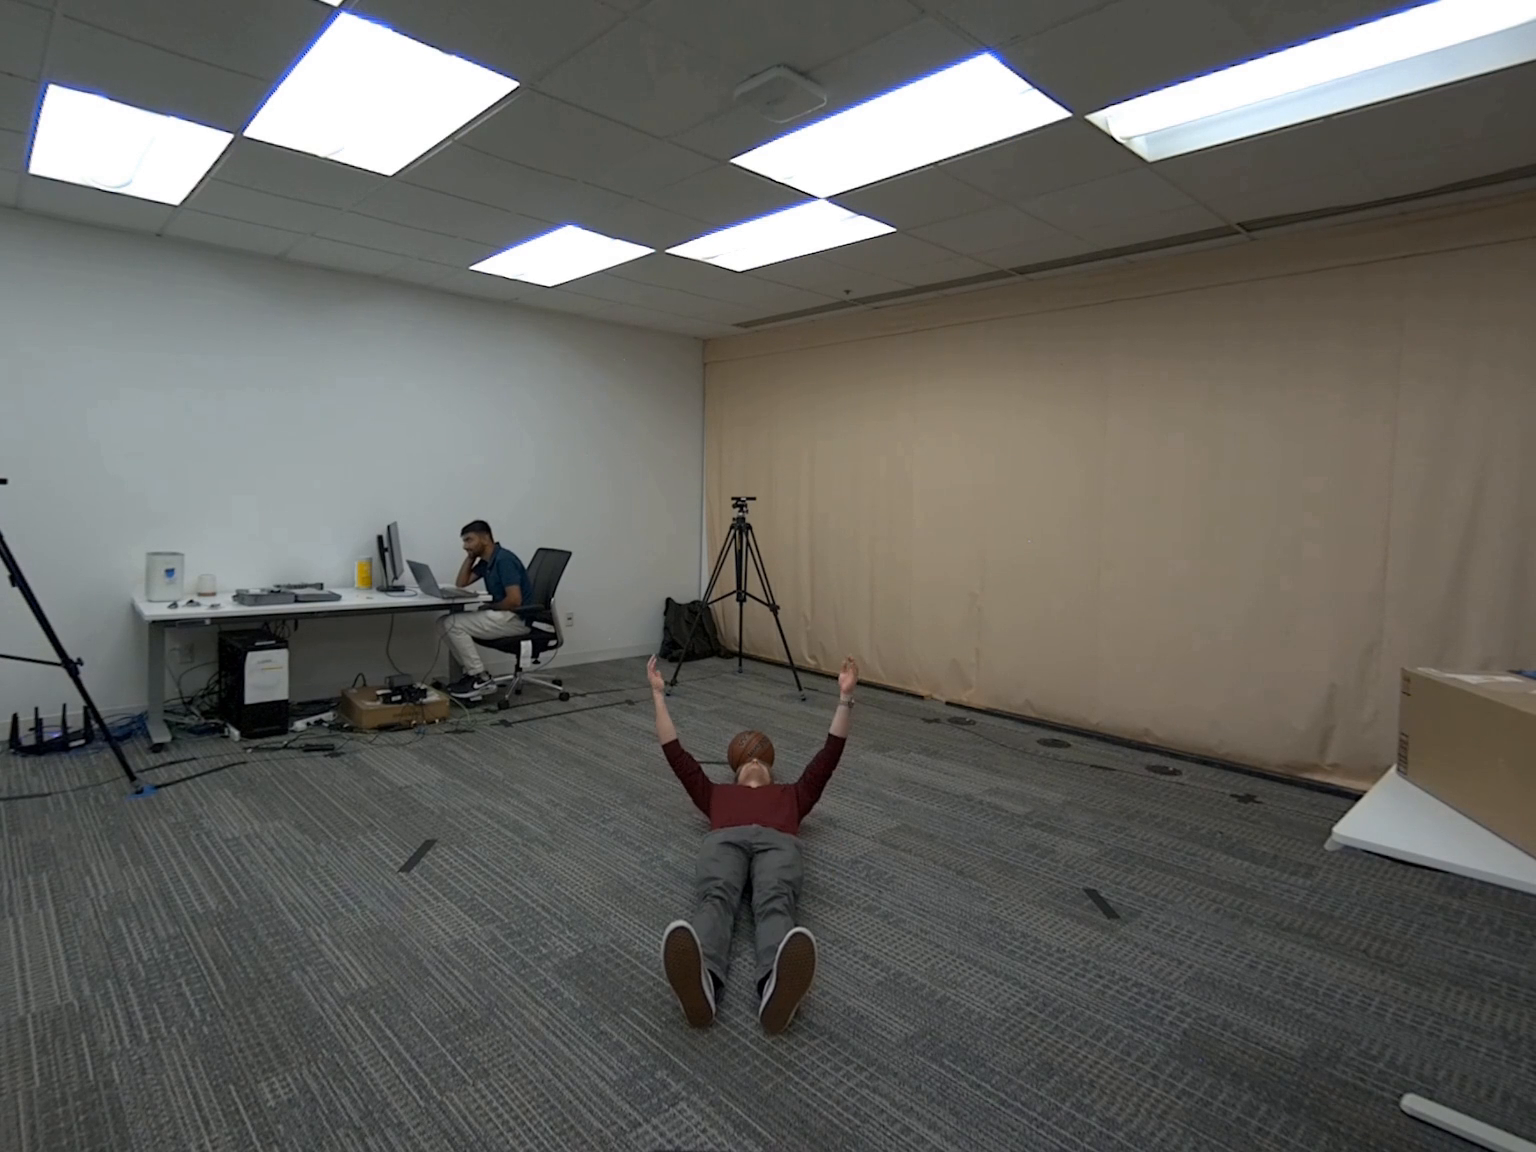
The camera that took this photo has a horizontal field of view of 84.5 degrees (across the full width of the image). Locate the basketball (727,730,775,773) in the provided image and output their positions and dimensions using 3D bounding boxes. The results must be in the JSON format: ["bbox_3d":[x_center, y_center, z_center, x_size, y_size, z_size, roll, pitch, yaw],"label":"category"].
[{"bbox_3d":[-0.100,0.893,4.214,0.236,0.235,0.237,1,4,-1],"label":"basketball"}]
